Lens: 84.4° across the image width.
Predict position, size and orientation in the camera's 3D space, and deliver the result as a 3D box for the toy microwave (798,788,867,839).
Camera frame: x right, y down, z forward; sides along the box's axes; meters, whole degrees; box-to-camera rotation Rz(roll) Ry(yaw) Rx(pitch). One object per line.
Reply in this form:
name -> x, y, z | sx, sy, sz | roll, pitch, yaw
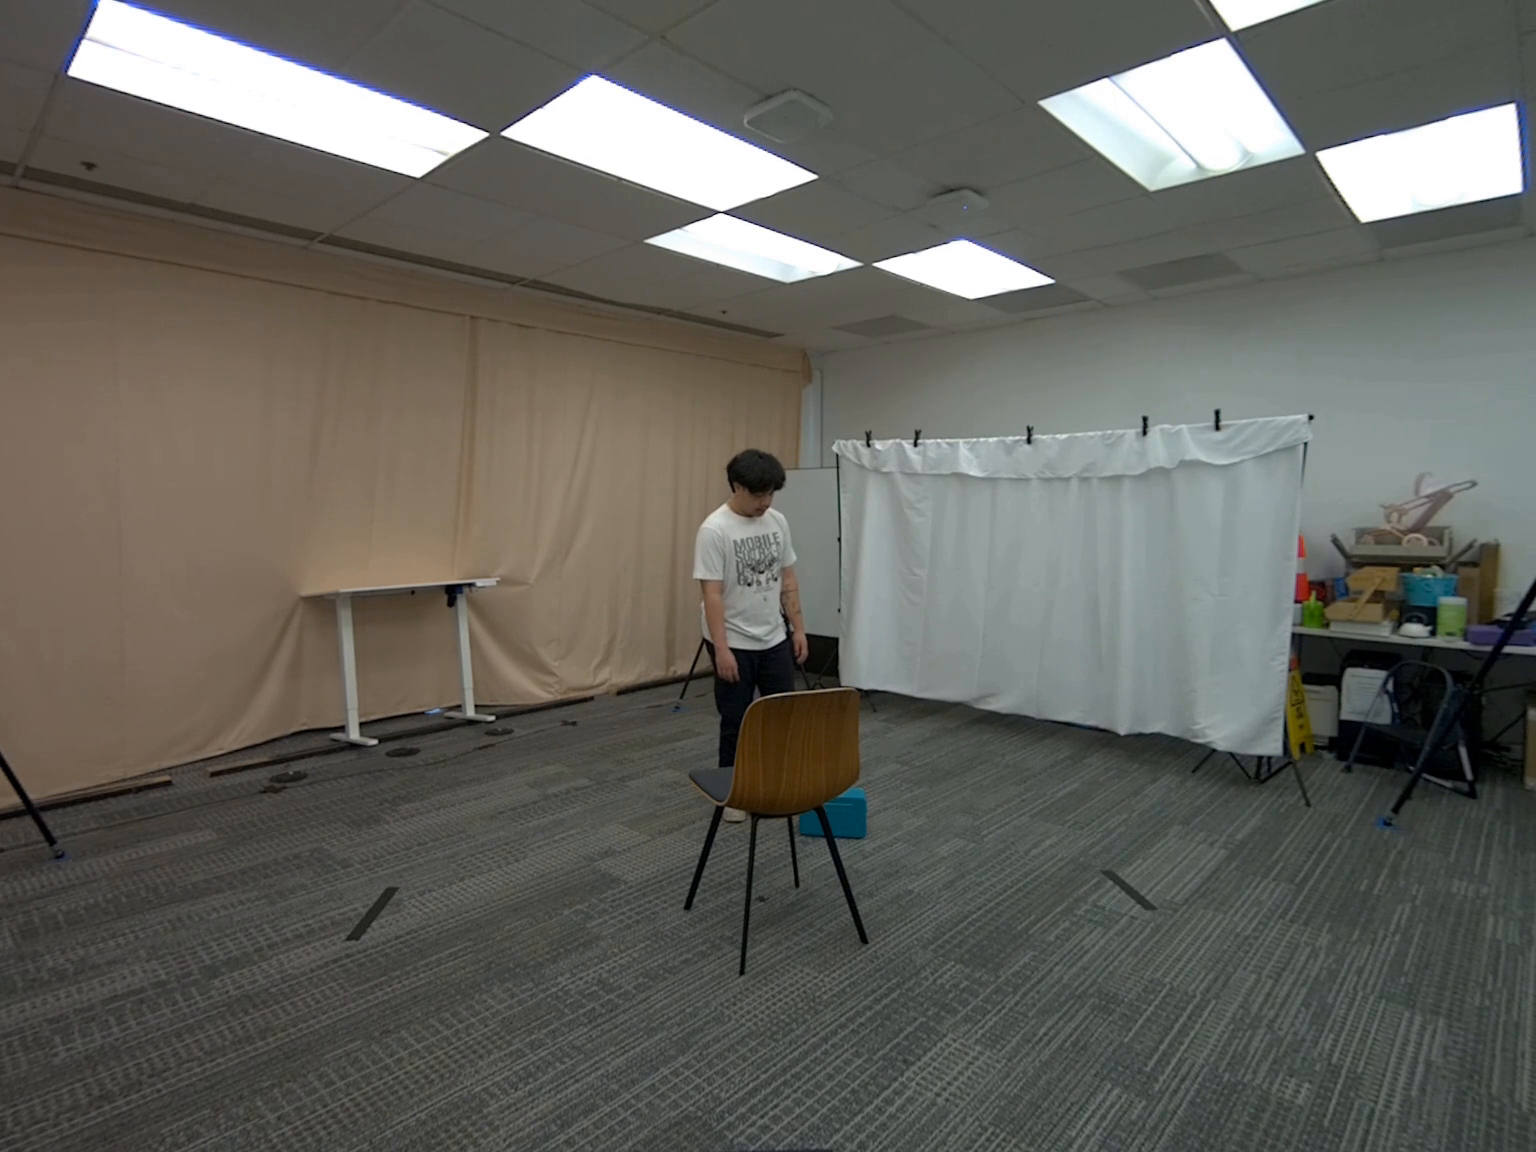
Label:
toy microwave -> 0.276, 1.000, 3.592 | 0.288, 0.183, 0.152 | 1, 5, 7
